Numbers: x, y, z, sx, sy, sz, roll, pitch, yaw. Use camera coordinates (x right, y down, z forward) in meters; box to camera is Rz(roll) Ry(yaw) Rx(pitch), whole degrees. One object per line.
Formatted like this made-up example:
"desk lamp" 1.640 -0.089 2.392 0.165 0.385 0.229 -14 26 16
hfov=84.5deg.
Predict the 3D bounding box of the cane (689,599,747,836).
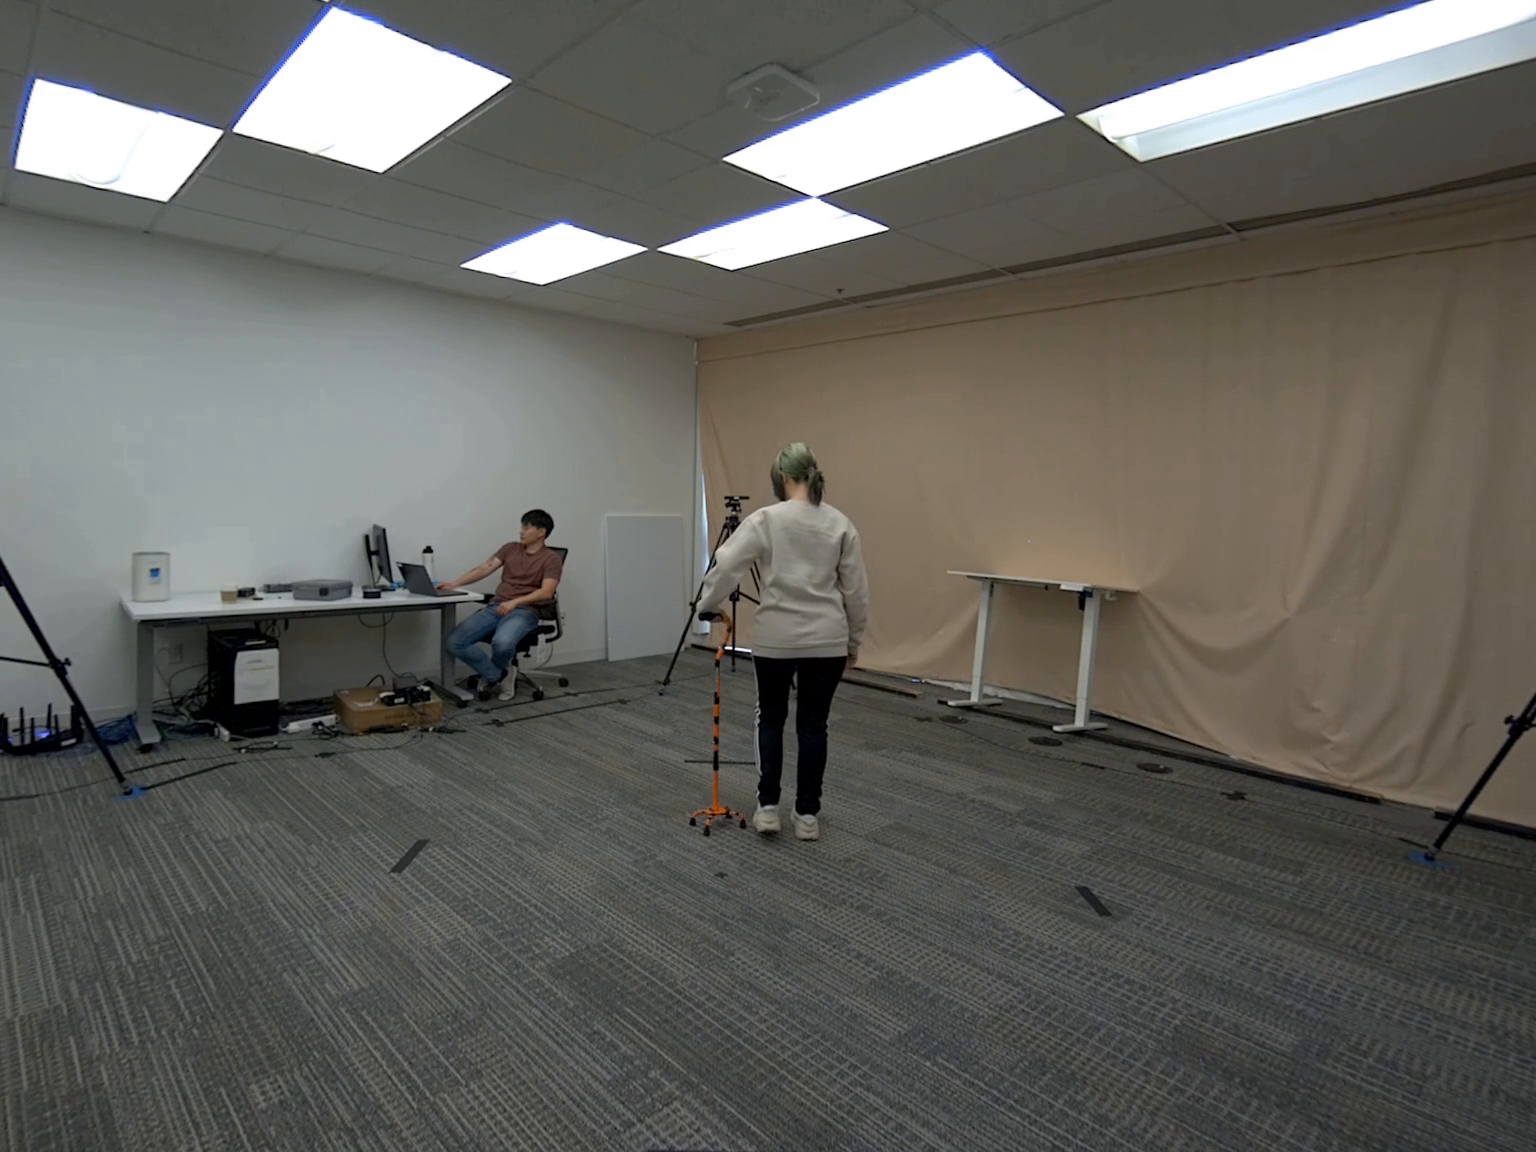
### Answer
"cane" -0.218 0.601 3.553 0.202 0.905 0.155 -2 4 -37
